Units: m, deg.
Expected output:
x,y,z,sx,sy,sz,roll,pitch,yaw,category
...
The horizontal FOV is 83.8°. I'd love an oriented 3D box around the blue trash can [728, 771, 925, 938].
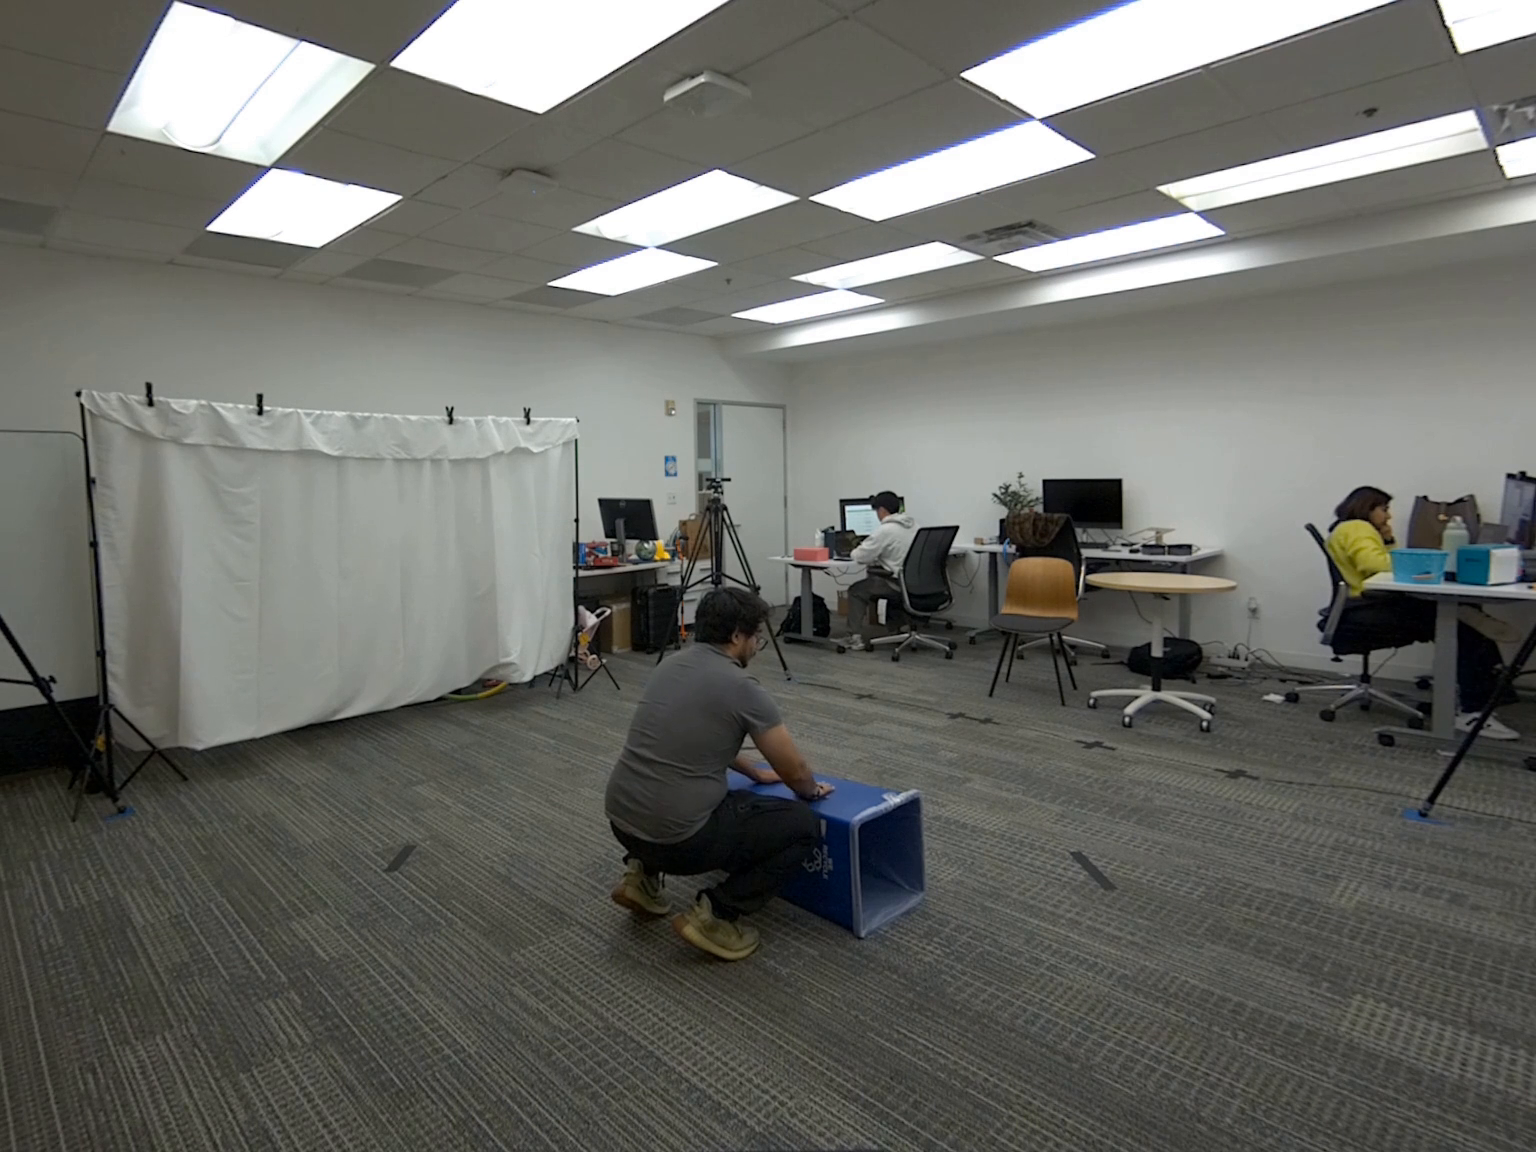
x,y,z,sx,sy,sz,roll,pitch,yaw,category
0.139,0.886,2.950,0.364,0.377,0.735,-6,6,-44,blue trash can
